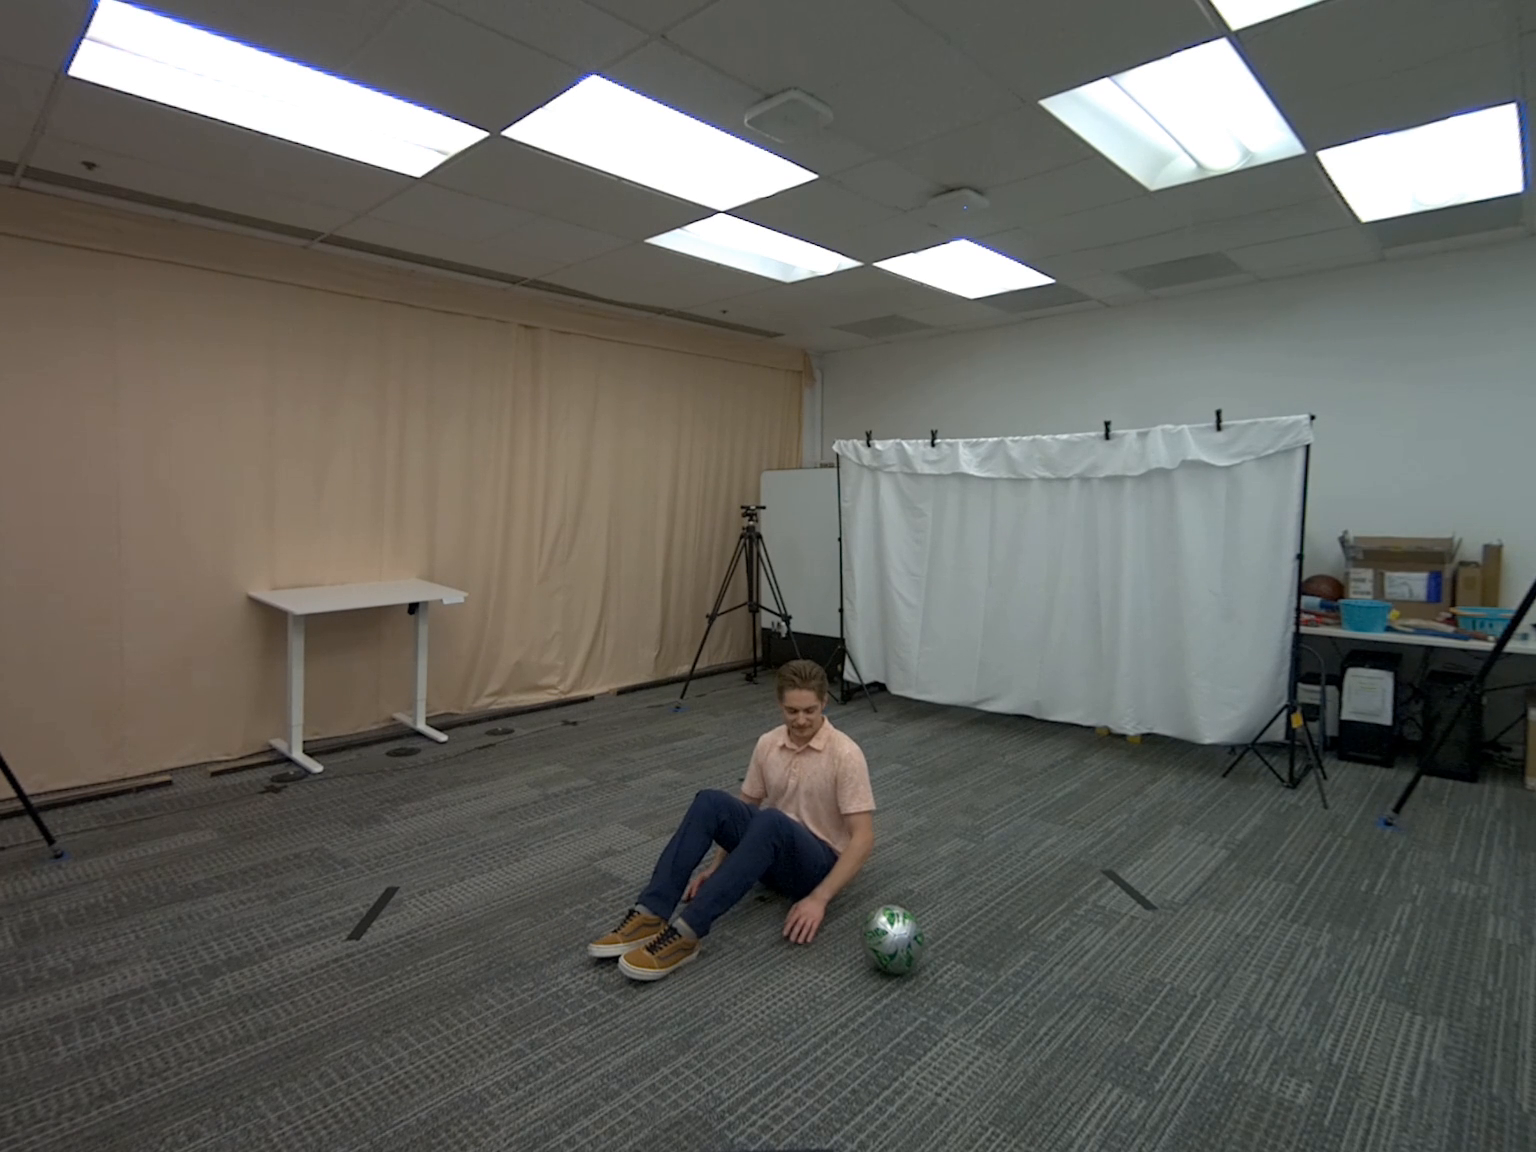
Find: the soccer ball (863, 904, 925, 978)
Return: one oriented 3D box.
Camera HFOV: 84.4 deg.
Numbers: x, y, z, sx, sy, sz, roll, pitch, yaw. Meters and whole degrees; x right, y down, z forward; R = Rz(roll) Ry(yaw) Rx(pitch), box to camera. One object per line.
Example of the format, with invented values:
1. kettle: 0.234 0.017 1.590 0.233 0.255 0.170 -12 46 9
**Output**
1. soccer ball: 0.376 1.084 2.521 0.187 0.187 0.188 0 4 -2
